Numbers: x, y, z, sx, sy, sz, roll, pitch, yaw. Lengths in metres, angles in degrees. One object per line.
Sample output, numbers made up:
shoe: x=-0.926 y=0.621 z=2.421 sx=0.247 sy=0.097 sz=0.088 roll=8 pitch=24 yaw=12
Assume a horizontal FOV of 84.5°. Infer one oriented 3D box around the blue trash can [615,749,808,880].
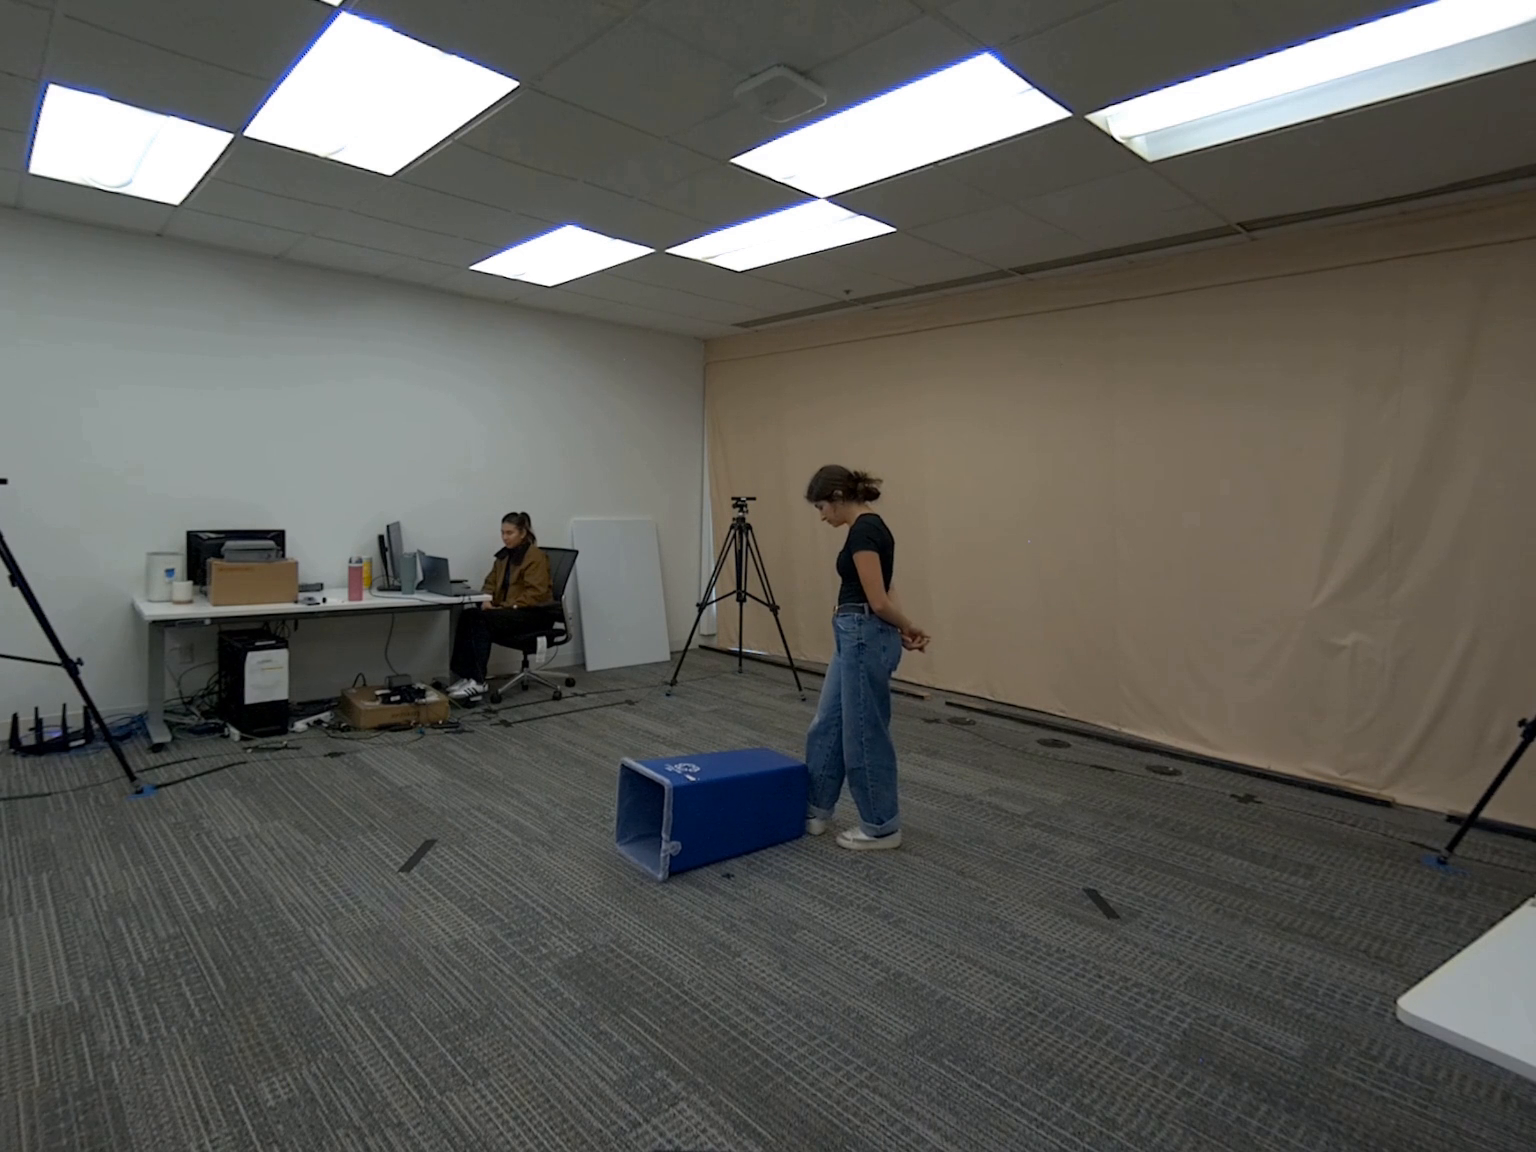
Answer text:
blue trash can: x=-0.222 y=0.913 z=3.373 sx=0.697 sy=0.377 sz=0.383 roll=1 pitch=3 yaw=-39
